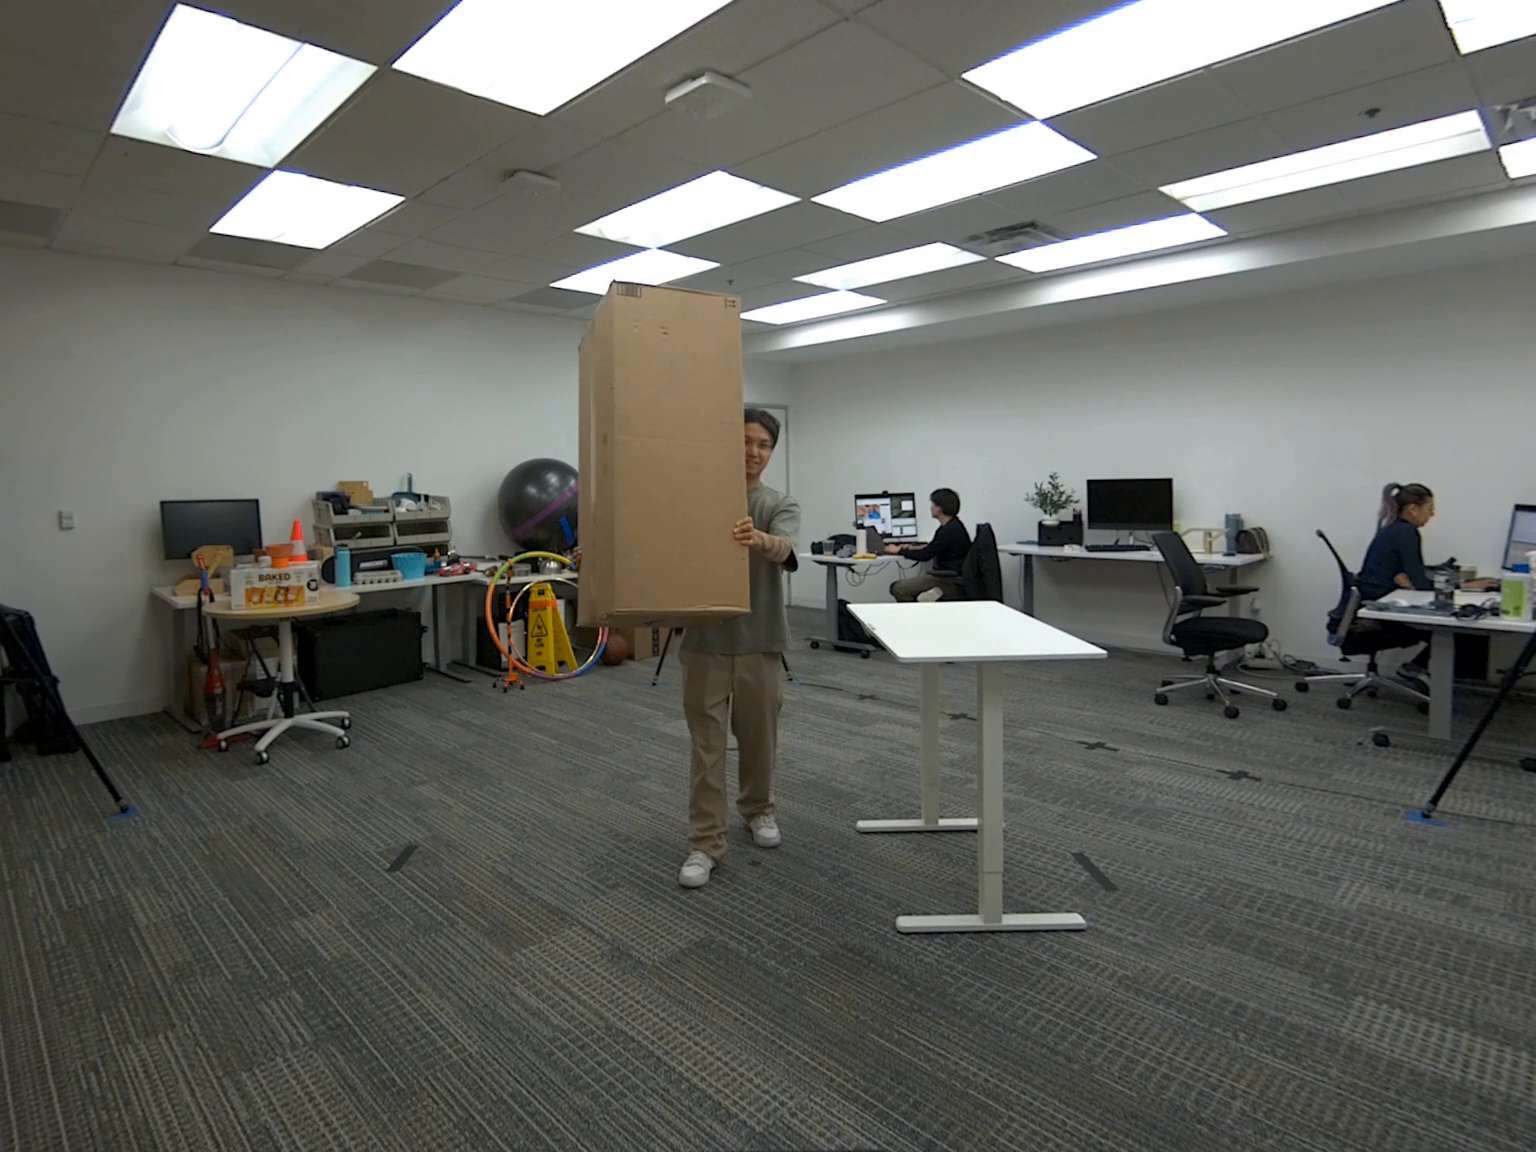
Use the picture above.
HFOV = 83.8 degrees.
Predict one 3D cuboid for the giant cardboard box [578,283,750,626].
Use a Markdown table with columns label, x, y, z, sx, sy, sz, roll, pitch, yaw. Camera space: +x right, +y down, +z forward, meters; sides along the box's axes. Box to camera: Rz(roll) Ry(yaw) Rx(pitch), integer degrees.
| label | x | y | z | sx | sy | sz | roll | pitch | yaw |
| --- | --- | --- | --- | --- | --- | --- | --- | --- | --- |
| giant cardboard box | -0.368 | -0.353 | 2.844 | 0.418 | 1.035 | 0.584 | 1 | -10 | -22 |
